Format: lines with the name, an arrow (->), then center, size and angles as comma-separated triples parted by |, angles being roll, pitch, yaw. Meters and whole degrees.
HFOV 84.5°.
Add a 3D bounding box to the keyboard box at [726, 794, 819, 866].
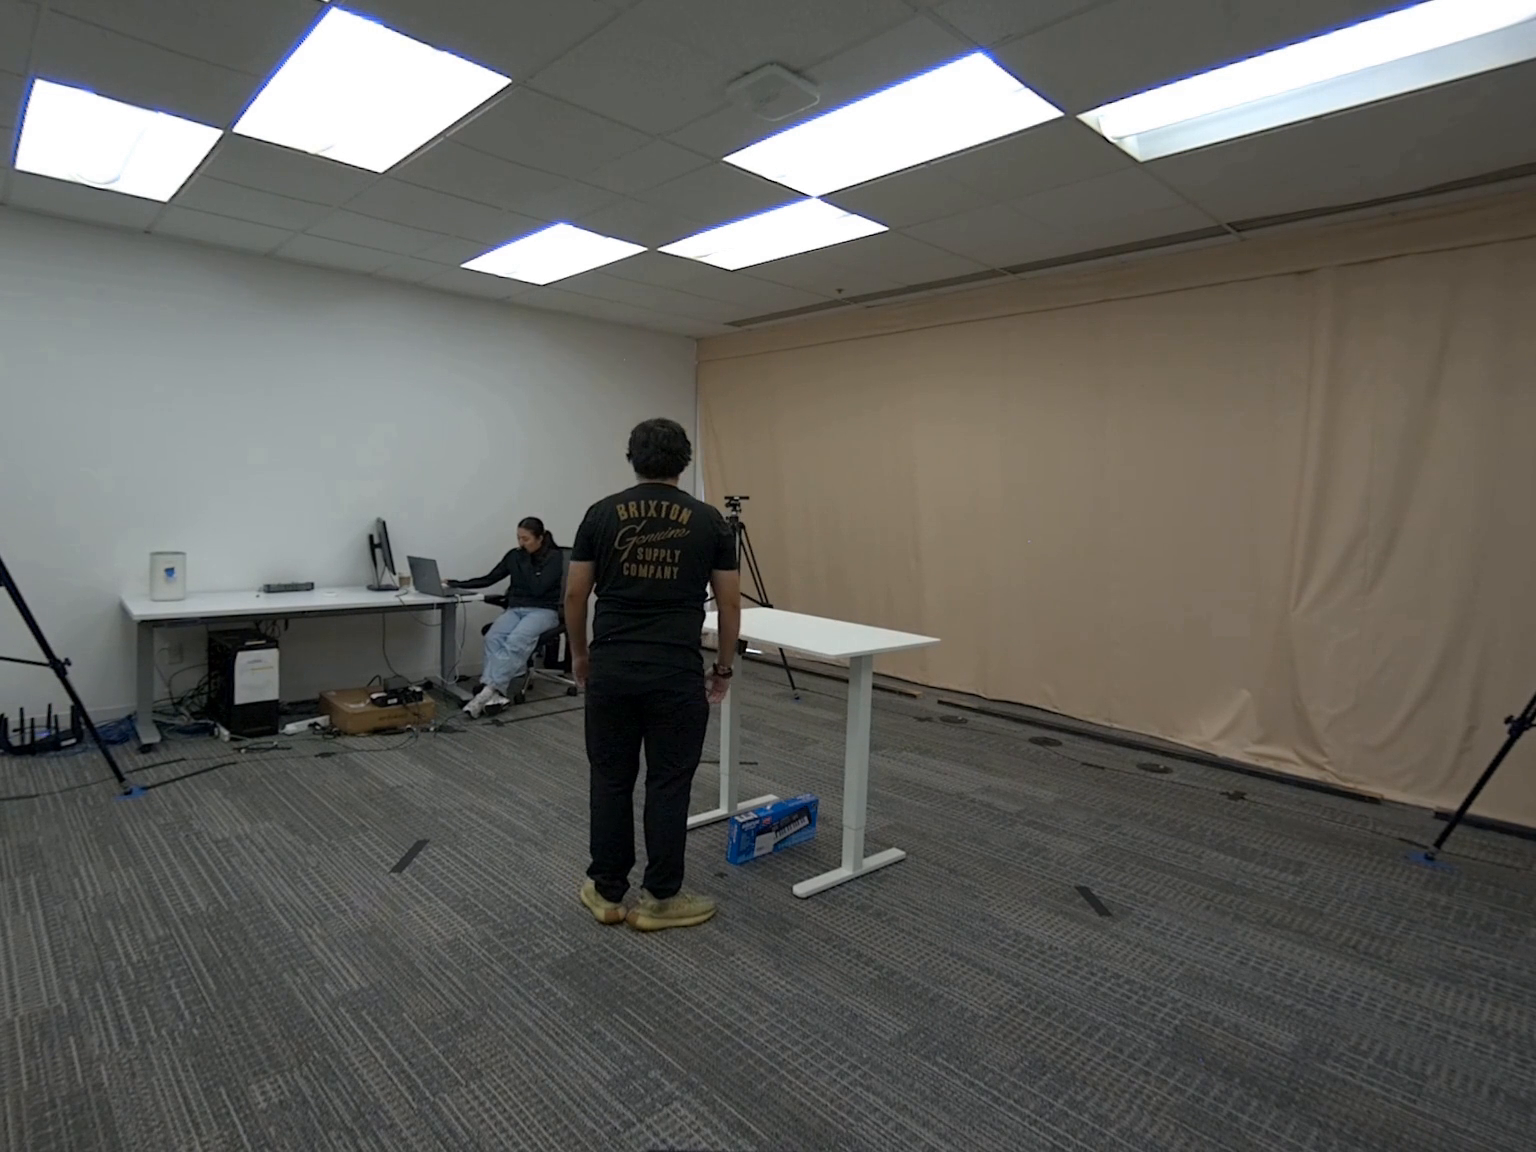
keyboard box -> 0.017, 1.001, 3.336 | 0.427, 0.175, 0.061 | -3, 11, -42
